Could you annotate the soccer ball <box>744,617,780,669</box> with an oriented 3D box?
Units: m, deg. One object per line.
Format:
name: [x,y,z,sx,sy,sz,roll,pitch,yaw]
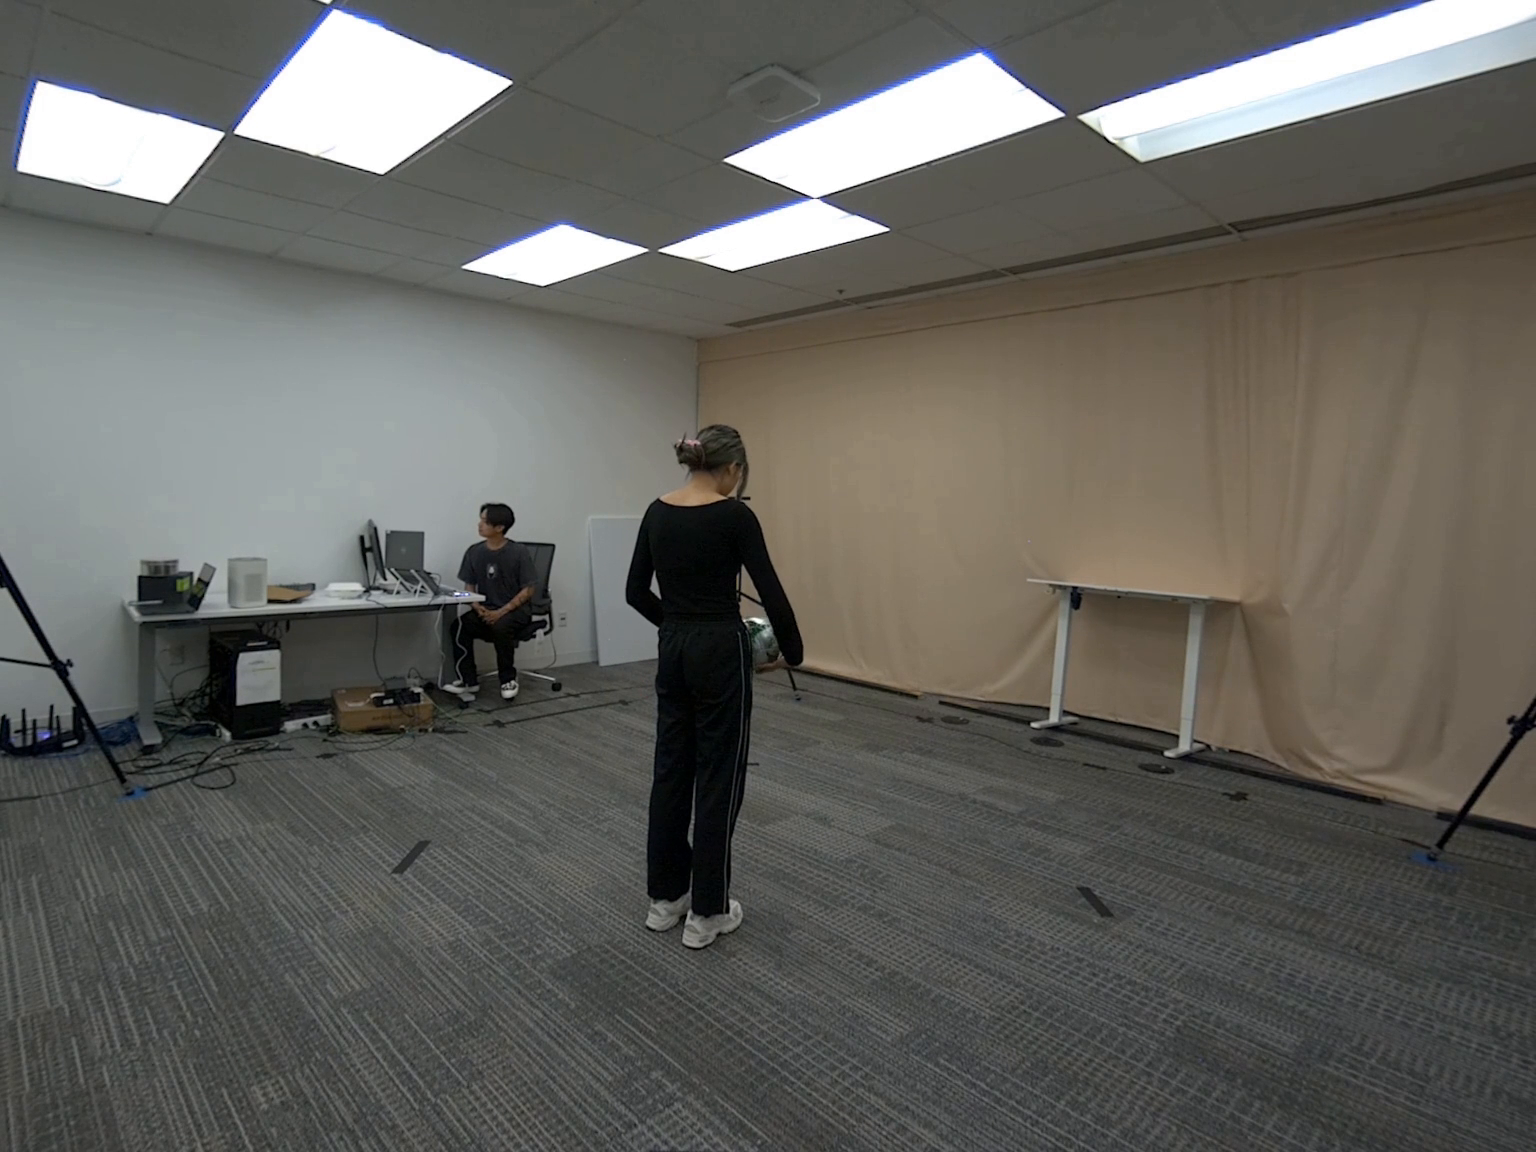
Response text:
soccer ball: [-0.052,0.225,2.836,0.187,0.187,0.188,1,4,-1]
